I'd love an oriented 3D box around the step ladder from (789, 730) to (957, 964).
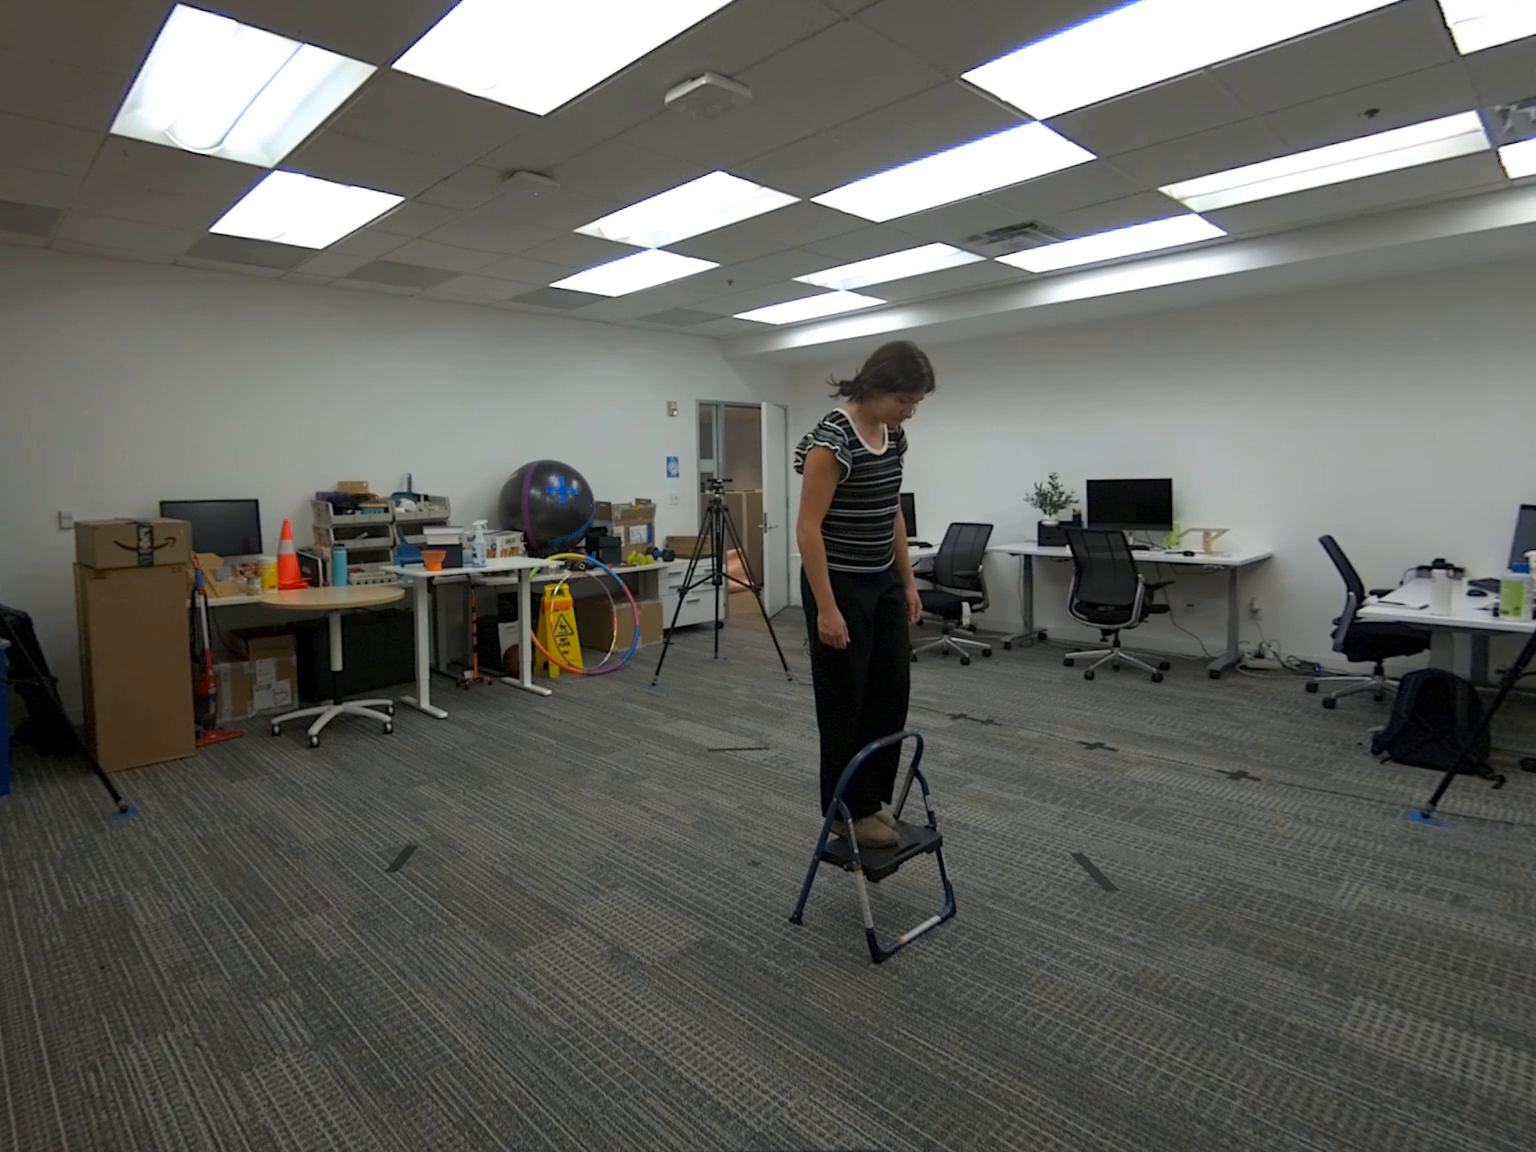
[{"bbox_3d":[0.335,0.785,2.690,0.360,0.604,0.419,3,6,45],"label":"step ladder"}]
